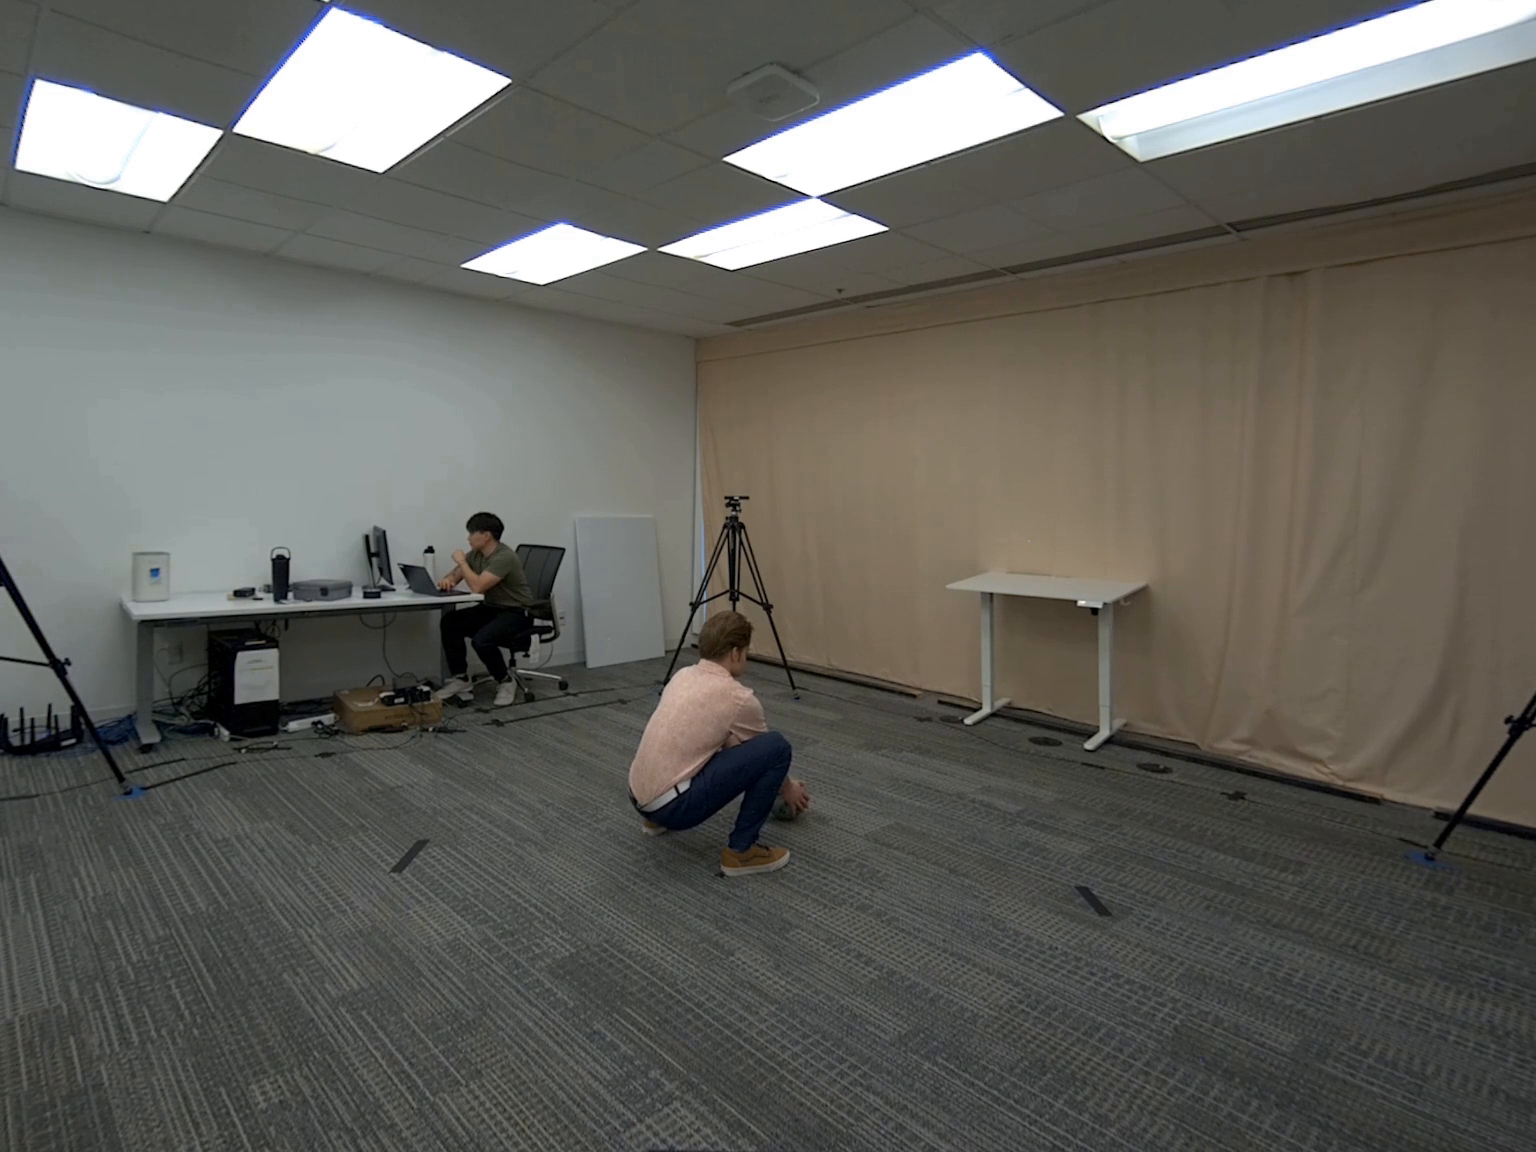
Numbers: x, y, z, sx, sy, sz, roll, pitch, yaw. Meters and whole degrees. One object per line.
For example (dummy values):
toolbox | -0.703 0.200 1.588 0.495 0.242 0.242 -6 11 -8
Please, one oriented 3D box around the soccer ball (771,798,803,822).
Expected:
soccer ball | 0.073 0.961 3.679 0.187 0.187 0.188 1 4 -1
